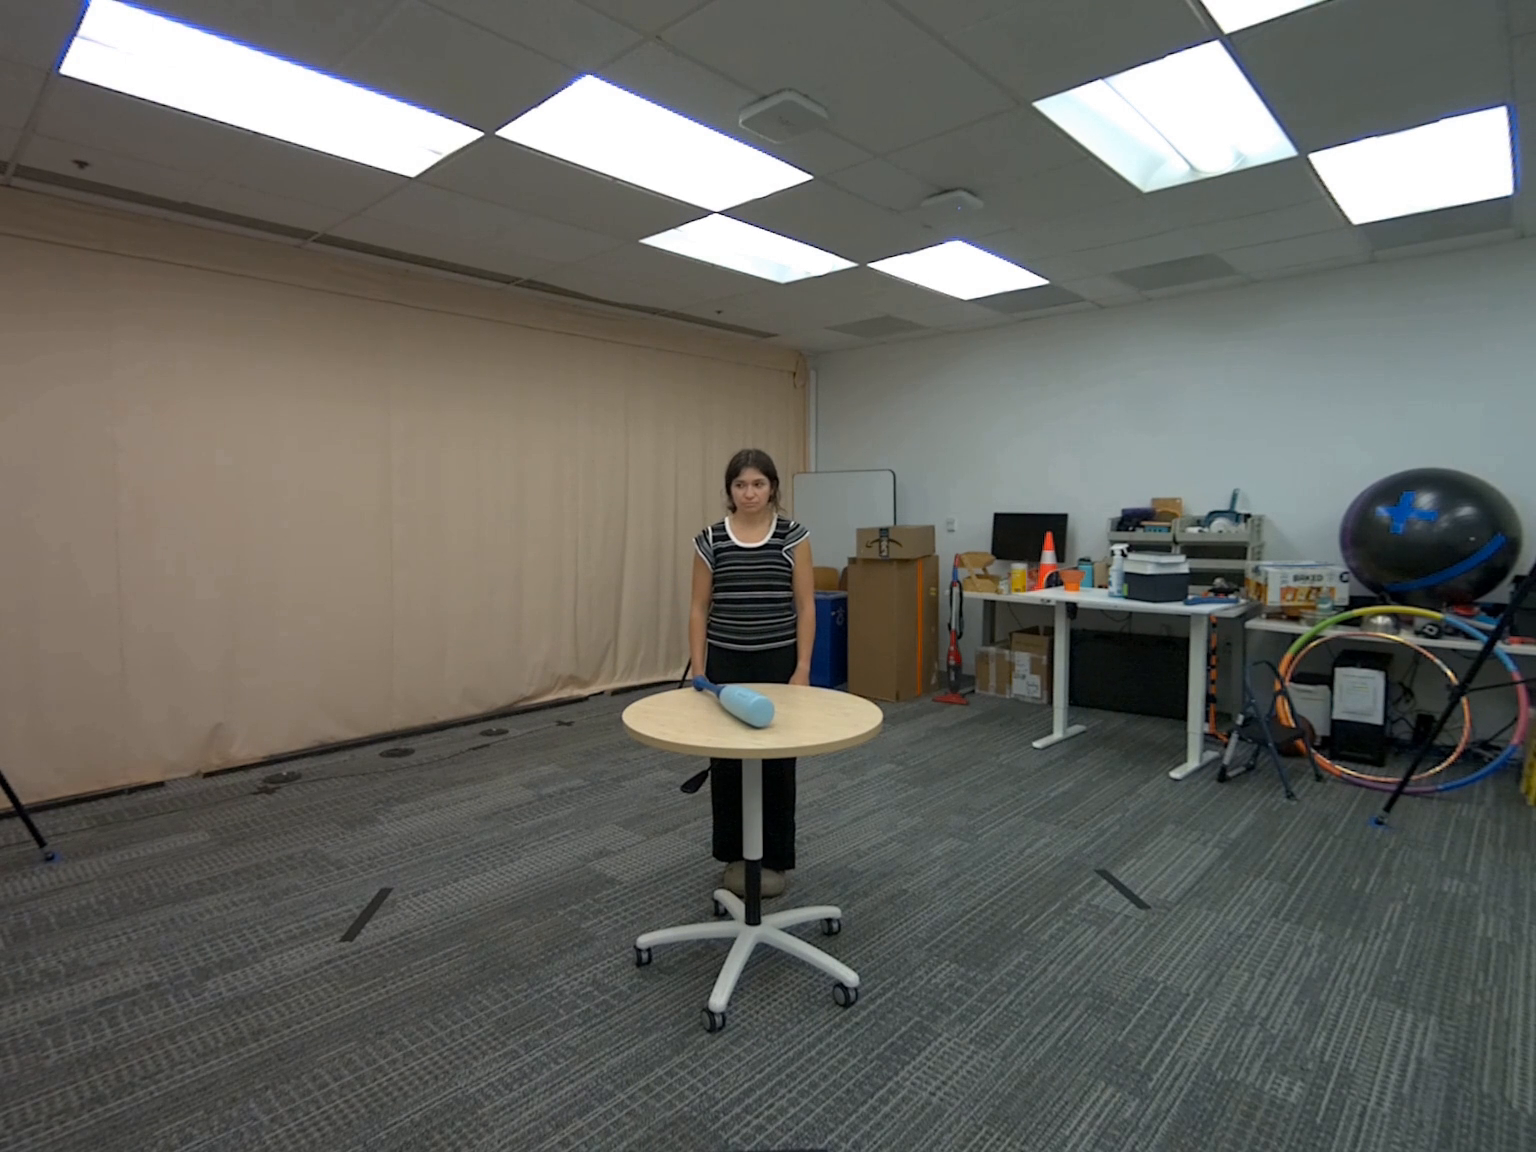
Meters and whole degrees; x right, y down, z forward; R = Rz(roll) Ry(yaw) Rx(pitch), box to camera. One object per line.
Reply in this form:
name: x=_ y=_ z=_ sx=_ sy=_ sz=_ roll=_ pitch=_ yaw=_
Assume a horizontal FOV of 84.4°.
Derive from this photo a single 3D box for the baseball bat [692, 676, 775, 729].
baseball bat: x=-0.124 y=0.363 z=2.536 sx=0.087 sy=0.089 sz=0.555 roll=-2 pitch=3 yaw=-23
